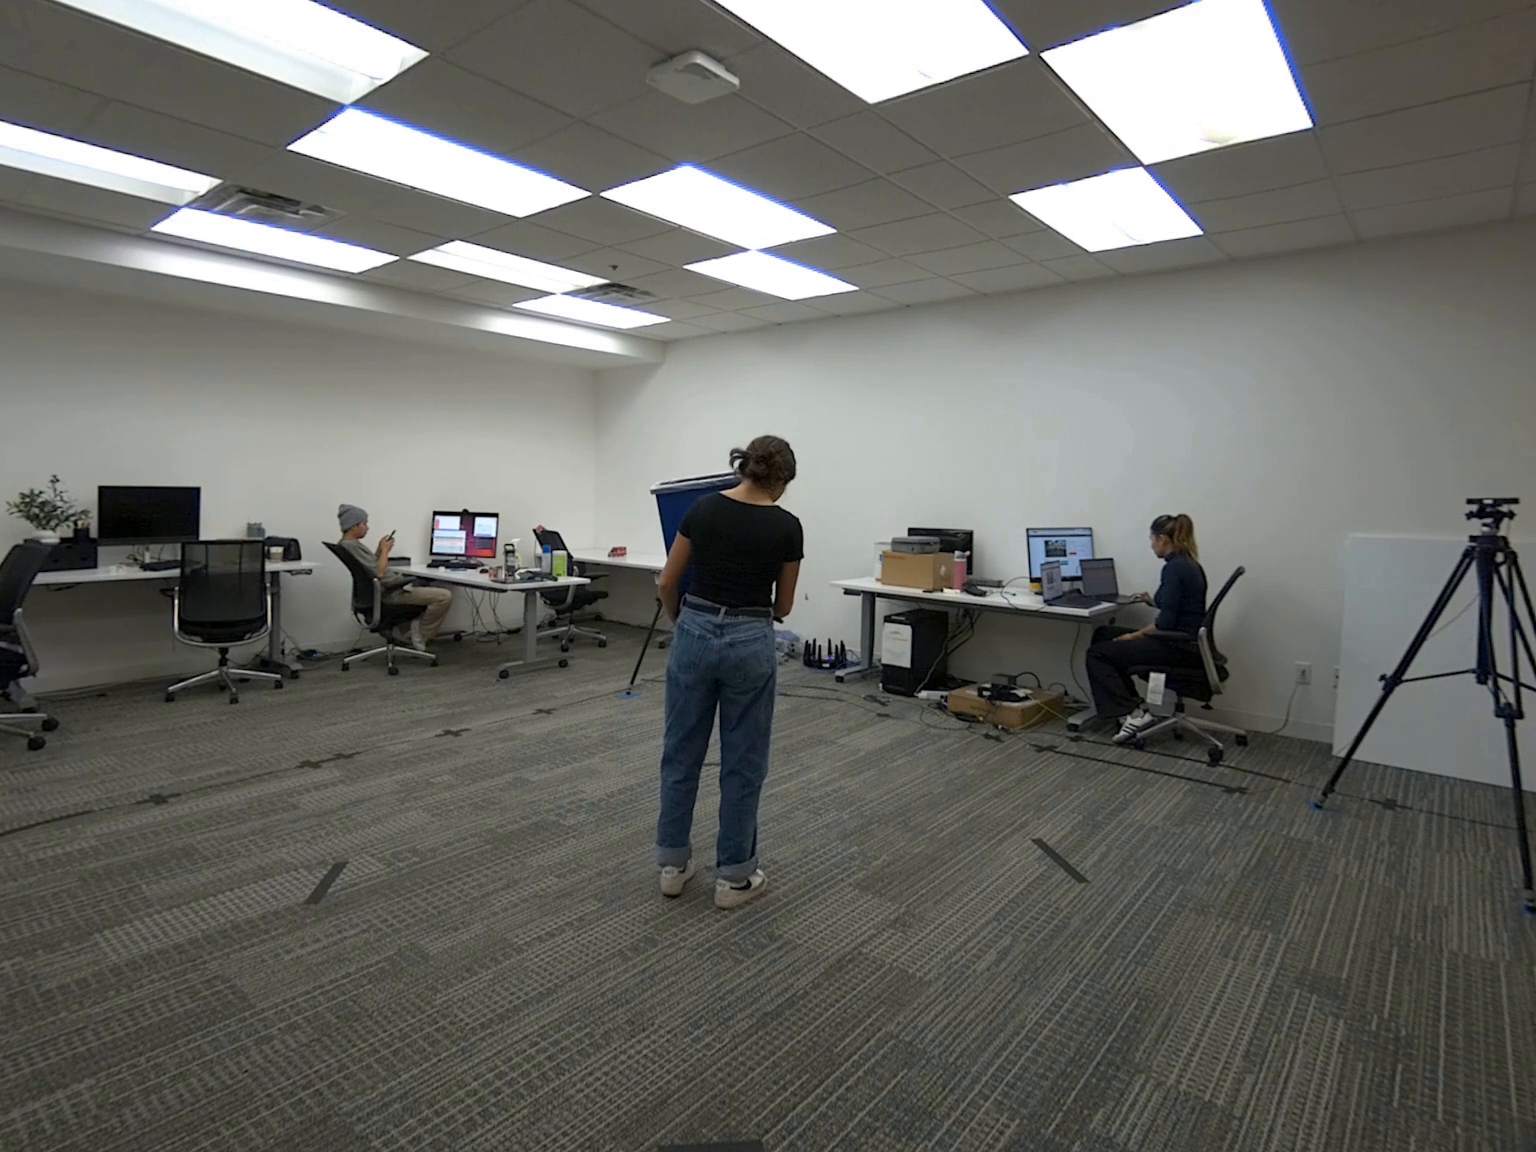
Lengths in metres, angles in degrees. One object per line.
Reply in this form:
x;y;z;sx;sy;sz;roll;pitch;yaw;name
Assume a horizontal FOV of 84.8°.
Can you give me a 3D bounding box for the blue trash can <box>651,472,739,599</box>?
-0.222;-0.022;3.210;0.373;0.708;0.382;-7;7;-4;blue trash can
